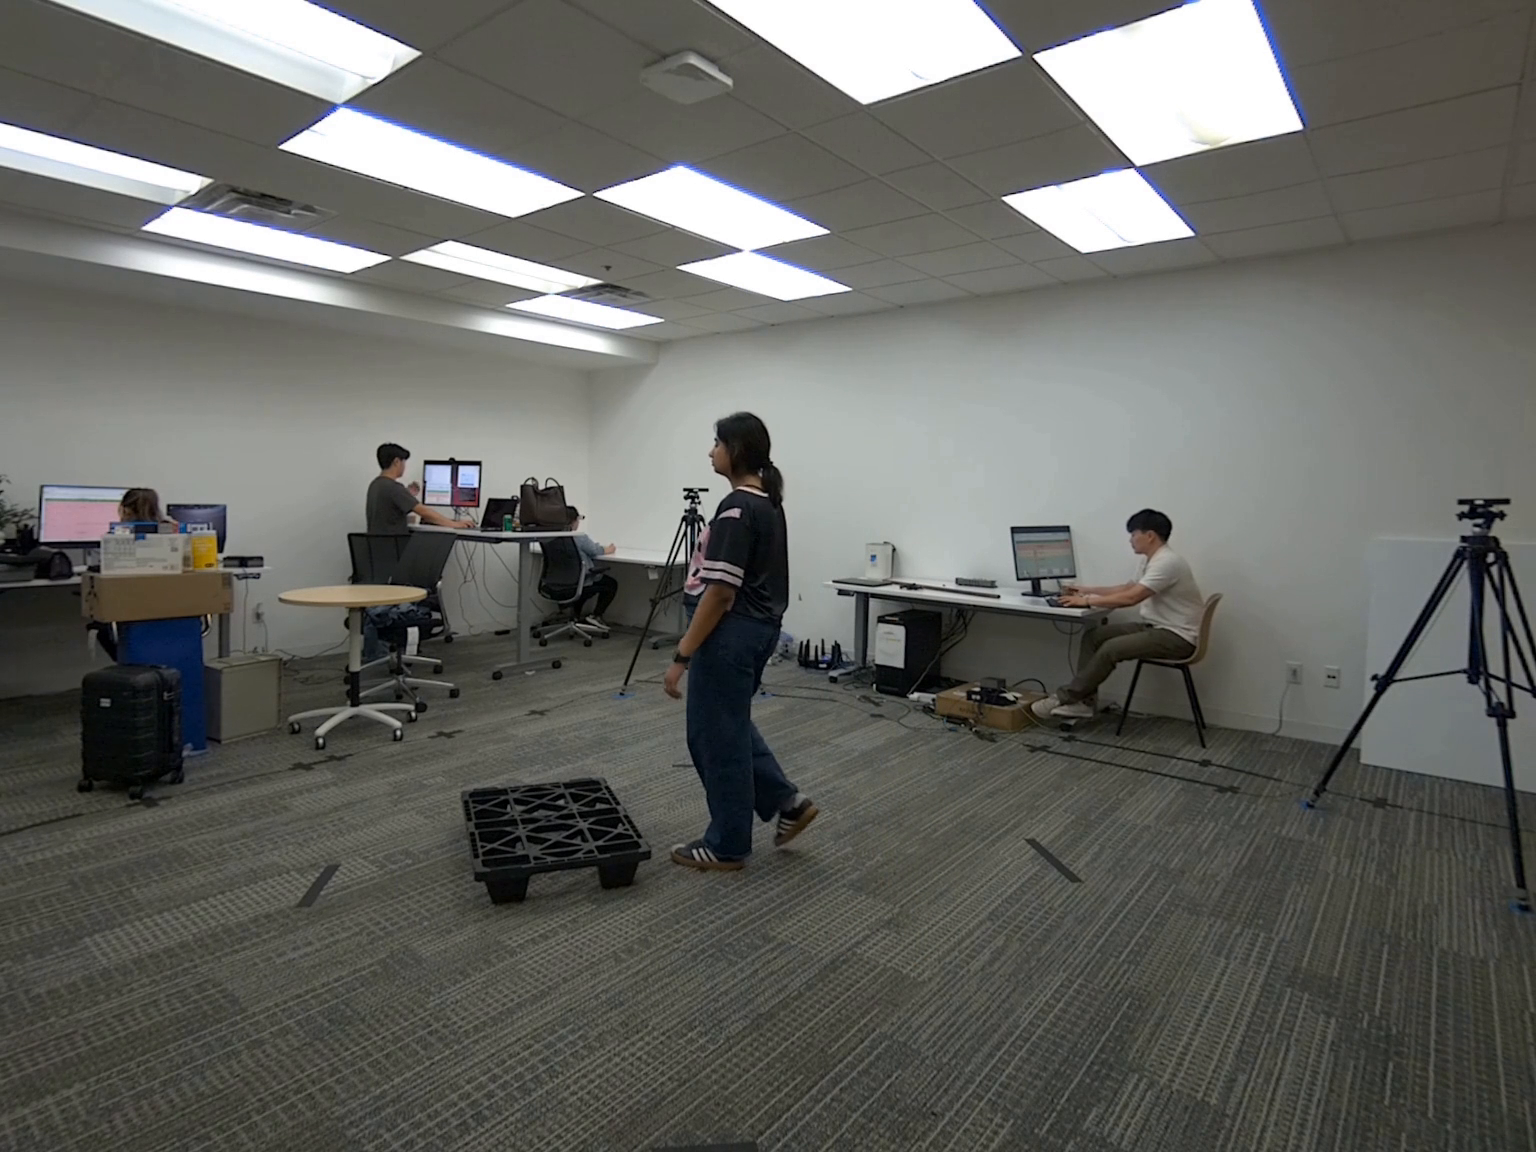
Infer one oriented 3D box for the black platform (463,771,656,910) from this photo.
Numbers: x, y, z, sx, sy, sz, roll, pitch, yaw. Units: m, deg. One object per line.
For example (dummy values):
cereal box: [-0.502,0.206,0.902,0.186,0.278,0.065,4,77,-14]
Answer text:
black platform: [-0.835,0.974,3.227,0.593,0.143,0.826,-1,6,-21]
